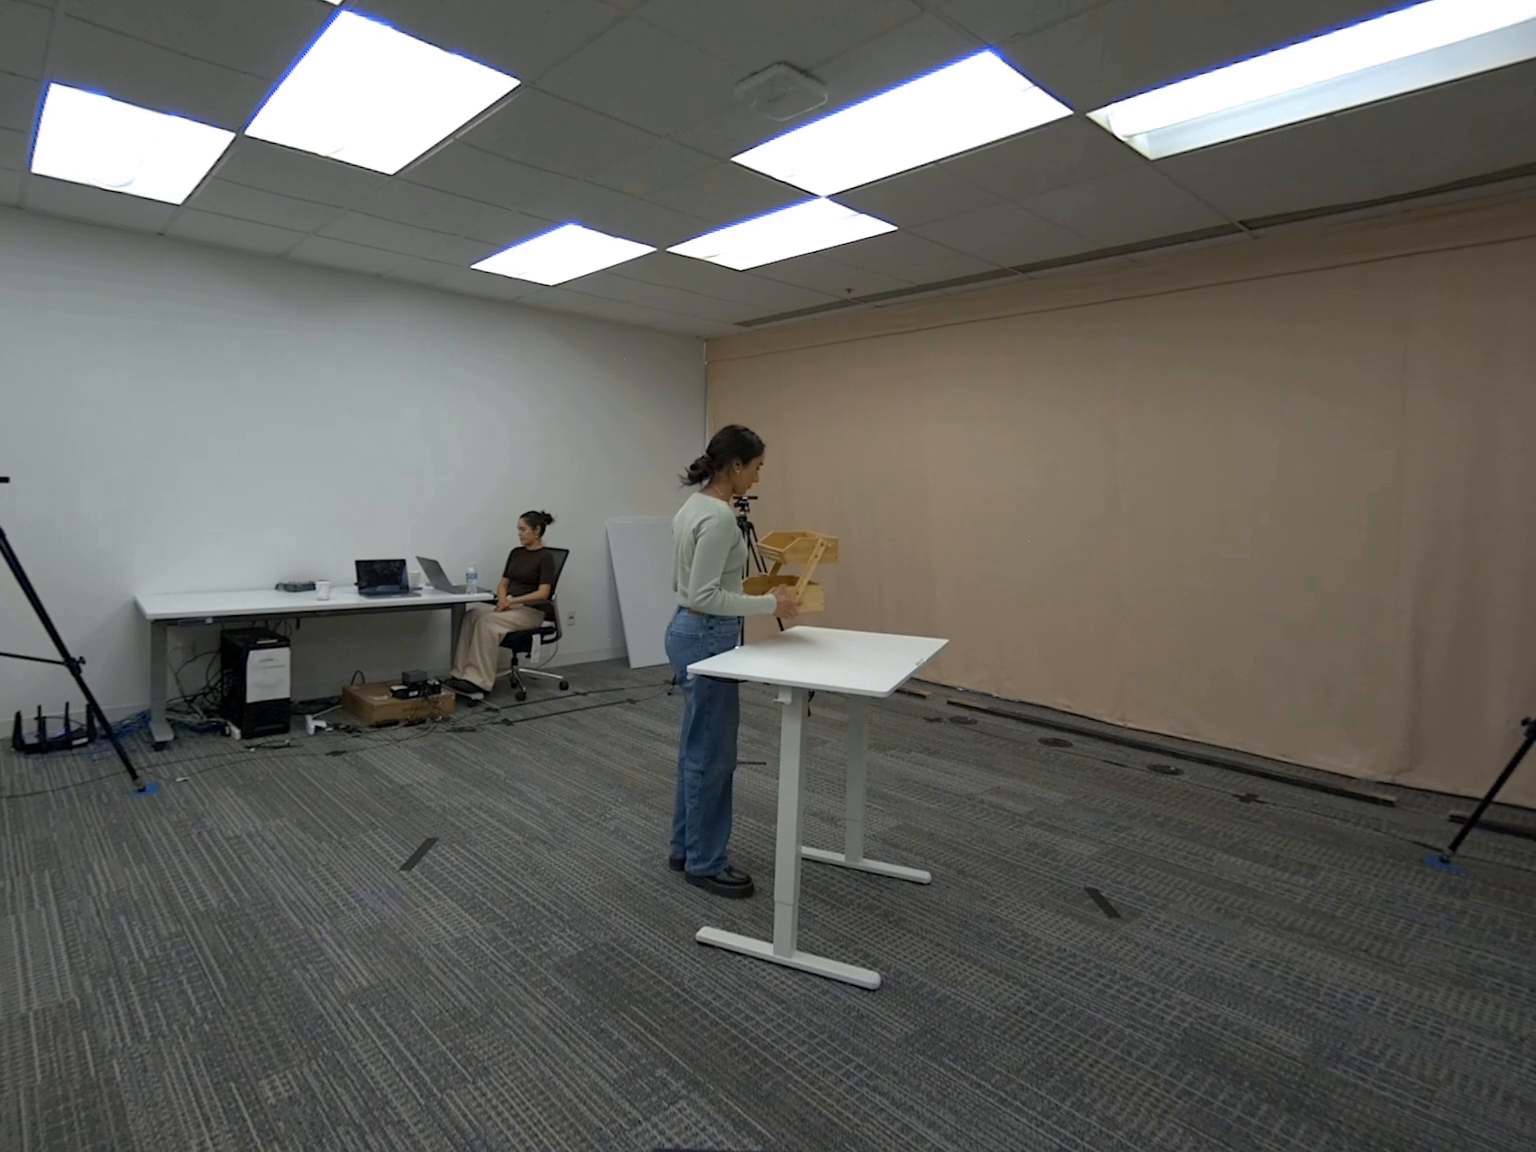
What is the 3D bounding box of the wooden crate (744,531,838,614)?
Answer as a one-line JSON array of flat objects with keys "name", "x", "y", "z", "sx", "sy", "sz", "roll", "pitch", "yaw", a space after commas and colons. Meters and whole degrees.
[{"name": "wooden crate", "x": 0.049, "y": -0.026, "z": 3.091, "sx": 0.298, "sy": 0.272, "sz": 0.330, "roll": -2, "pitch": 7, "yaw": -17}]
